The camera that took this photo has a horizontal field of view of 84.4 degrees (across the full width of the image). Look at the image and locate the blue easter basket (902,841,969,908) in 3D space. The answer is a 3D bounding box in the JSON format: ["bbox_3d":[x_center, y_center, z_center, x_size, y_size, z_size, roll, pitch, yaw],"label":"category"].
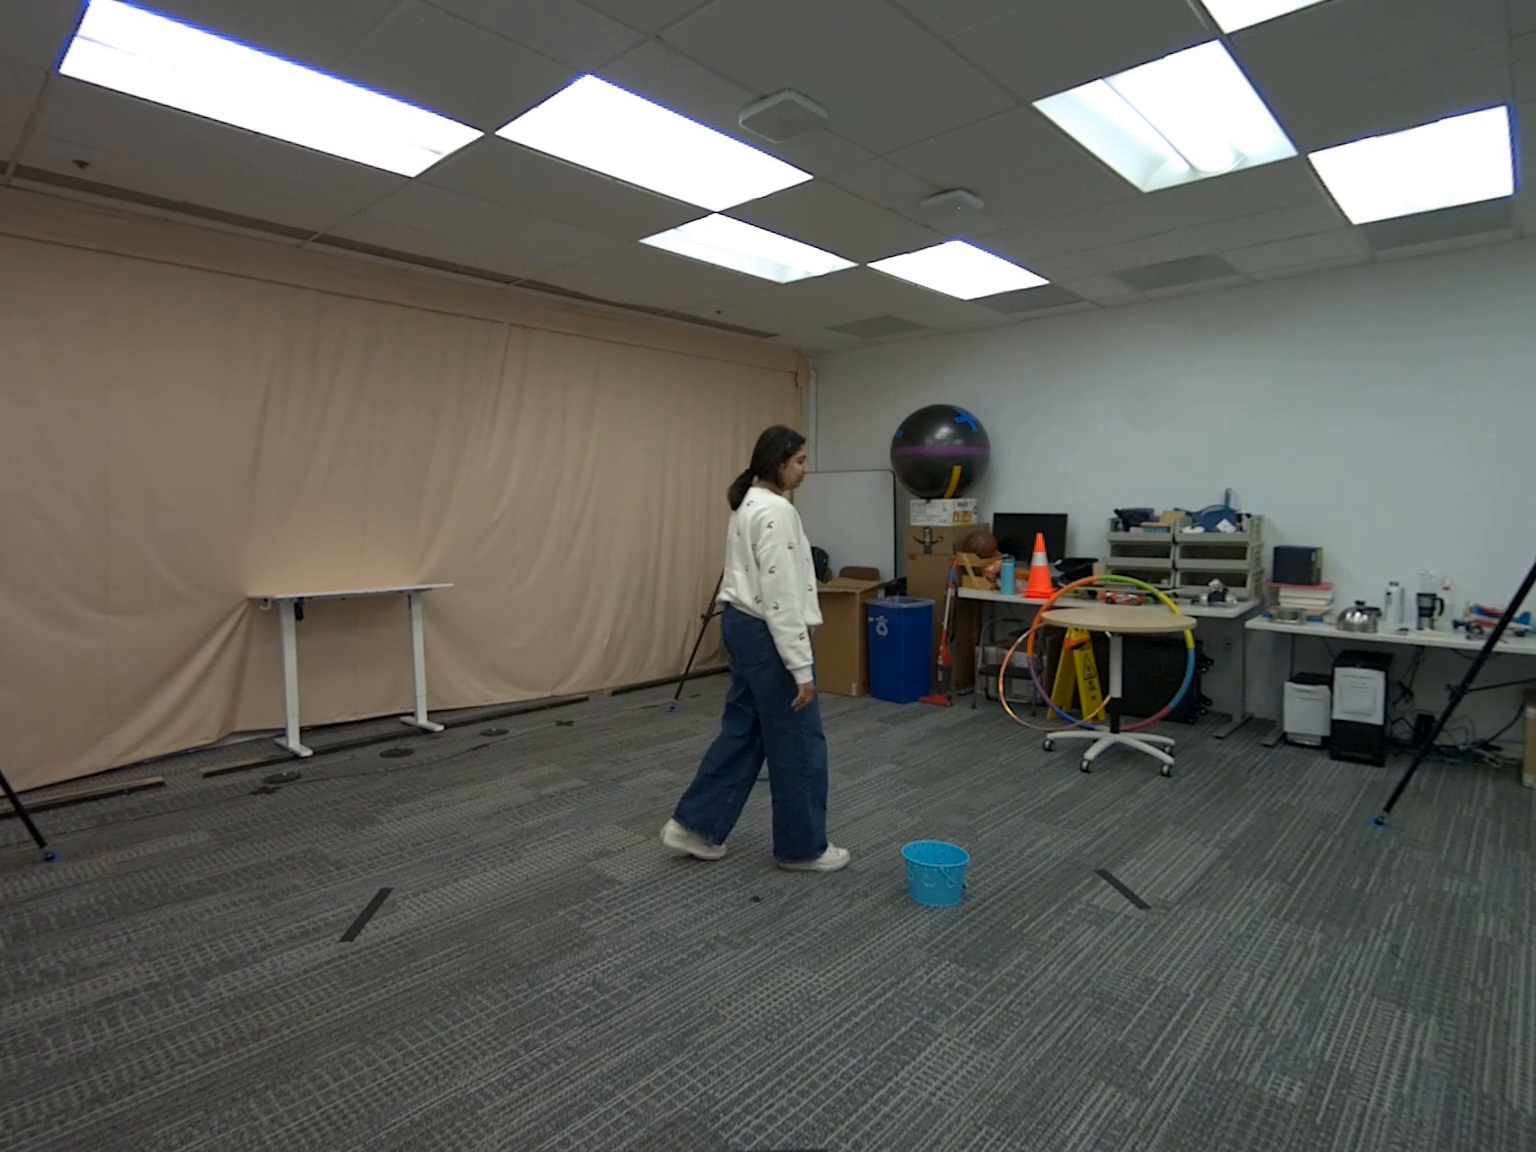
[{"bbox_3d":[0.599,1.061,2.996,0.243,0.155,0.244,0,4,-2],"label":"blue easter basket"}]
